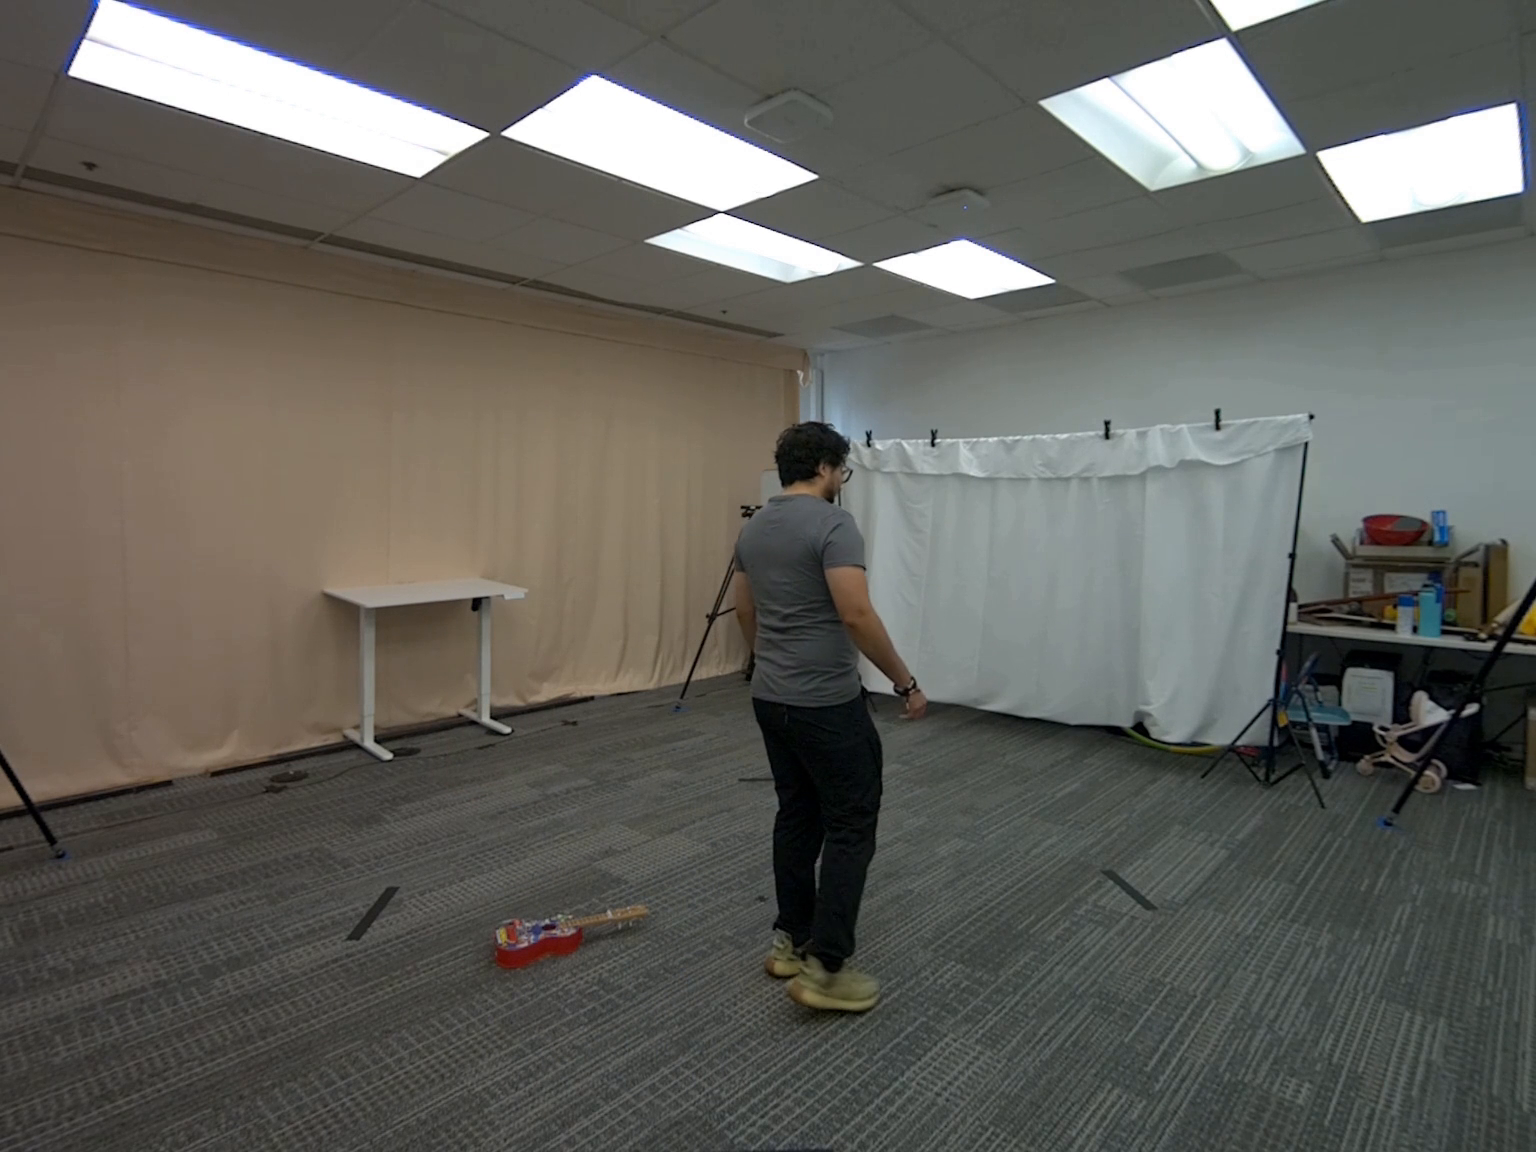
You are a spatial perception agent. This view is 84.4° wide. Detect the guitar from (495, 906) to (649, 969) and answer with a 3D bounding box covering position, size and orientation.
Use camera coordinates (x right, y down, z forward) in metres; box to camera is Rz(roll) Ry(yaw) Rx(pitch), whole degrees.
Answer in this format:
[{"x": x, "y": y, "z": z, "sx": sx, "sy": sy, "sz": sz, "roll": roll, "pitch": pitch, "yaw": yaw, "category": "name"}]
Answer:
[{"x": -0.621, "y": 1.141, "z": 2.665, "sx": 0.492, "sy": 0.070, "sz": 0.196, "roll": -1, "pitch": 5, "yaw": -11, "category": "guitar"}]
